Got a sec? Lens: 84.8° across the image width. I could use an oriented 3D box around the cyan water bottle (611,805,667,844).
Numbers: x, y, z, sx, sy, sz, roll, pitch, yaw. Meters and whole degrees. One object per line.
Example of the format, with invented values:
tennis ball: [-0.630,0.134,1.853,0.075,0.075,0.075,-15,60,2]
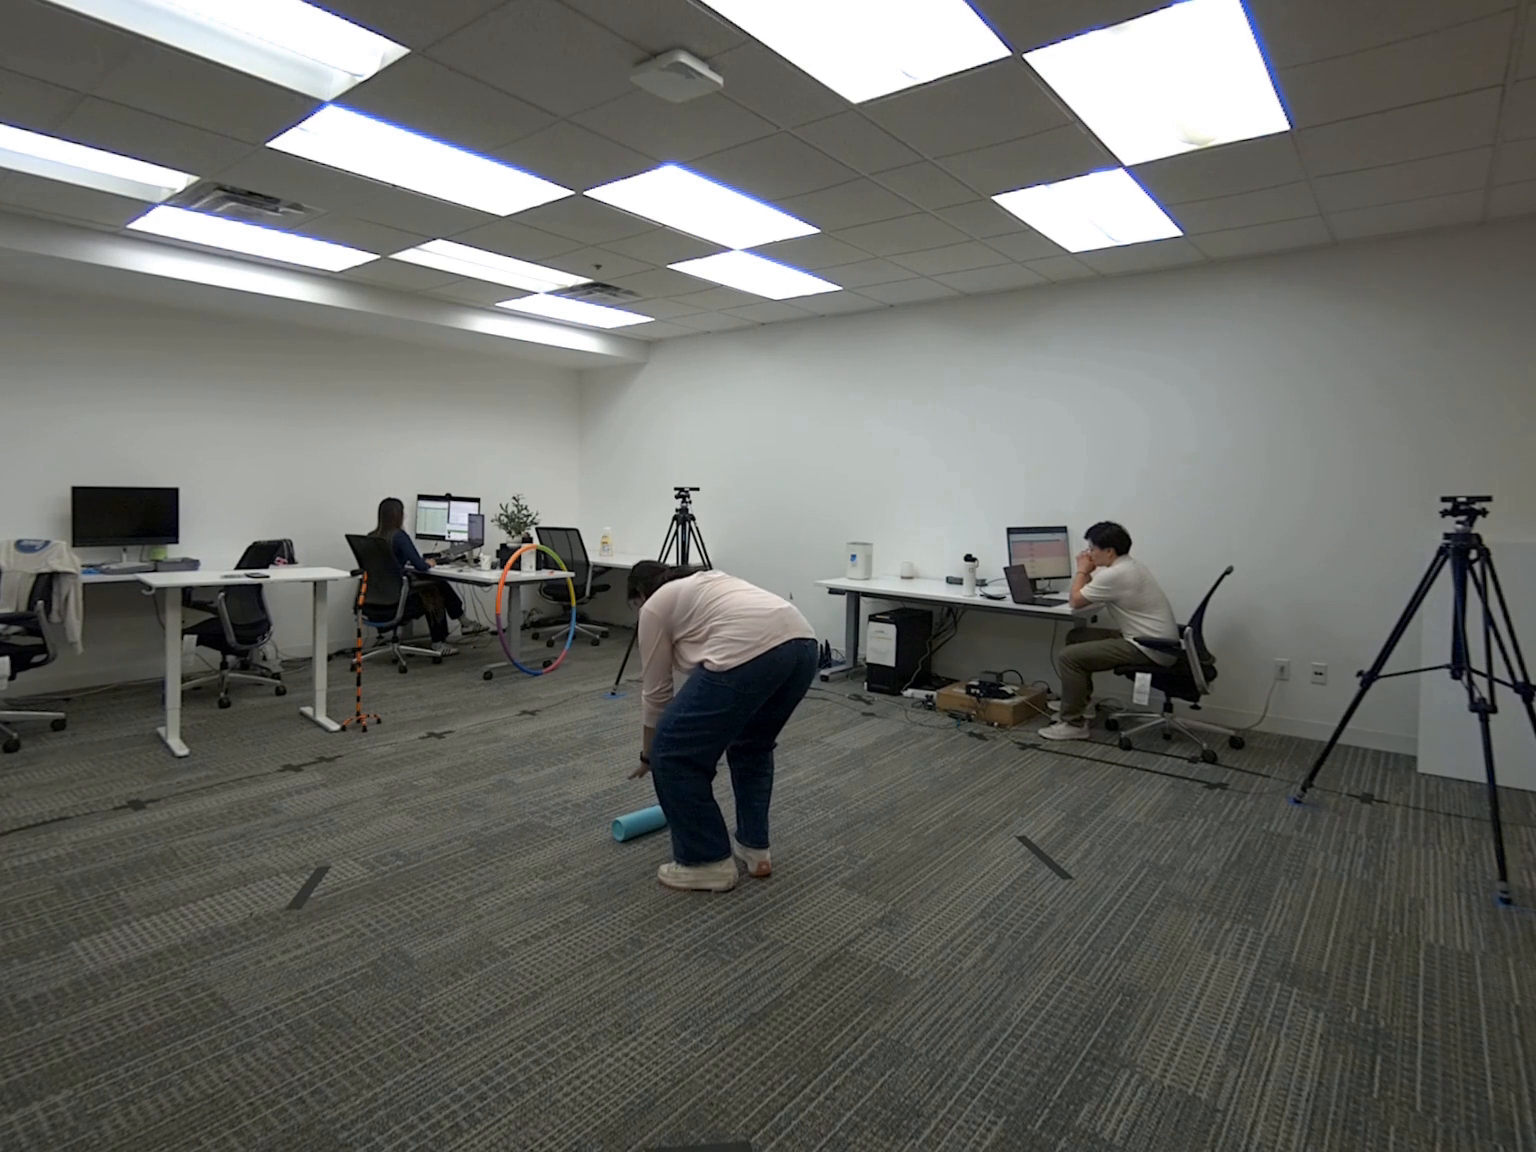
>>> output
cyan water bottle: [-0.511,0.981,3.429,0.095,0.092,0.275,5,7,43]
